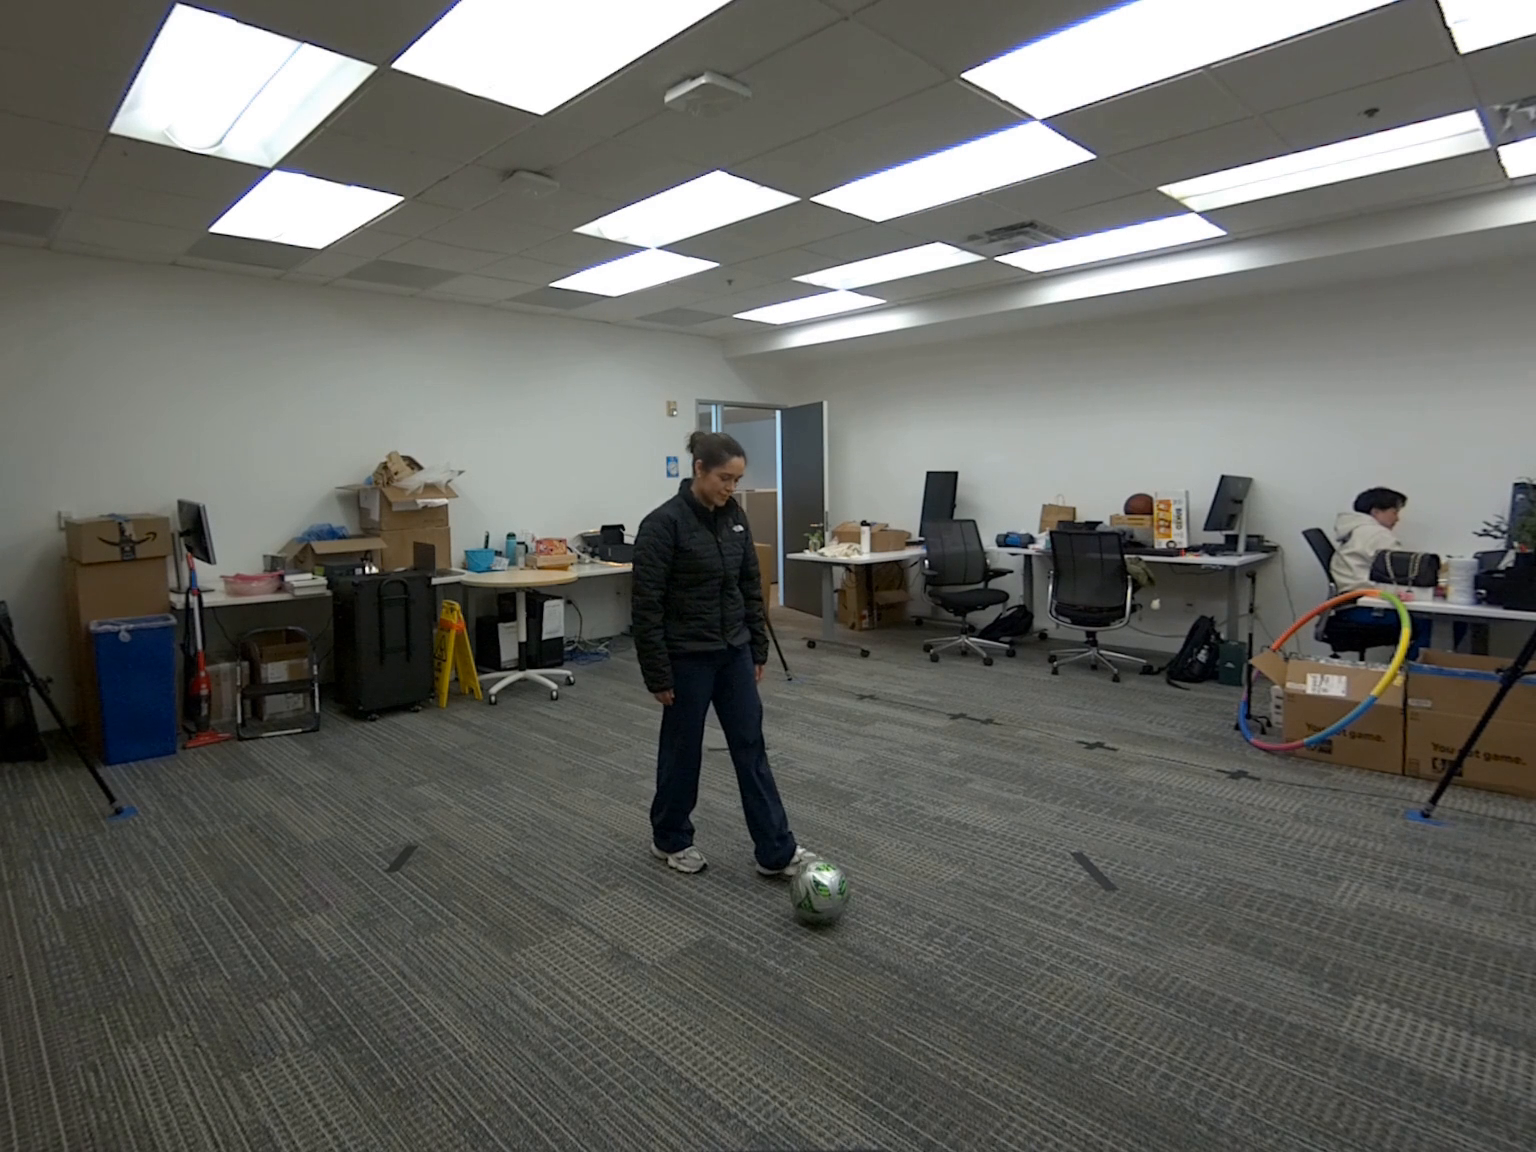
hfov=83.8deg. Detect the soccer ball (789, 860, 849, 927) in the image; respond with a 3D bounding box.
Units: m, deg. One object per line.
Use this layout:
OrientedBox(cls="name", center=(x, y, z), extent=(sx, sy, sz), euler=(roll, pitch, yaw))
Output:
OrientedBox(cls="soccer ball", center=(0.168, 0.997, 2.691), extent=(0.187, 0.187, 0.188), euler=(-1, 5, -2))
